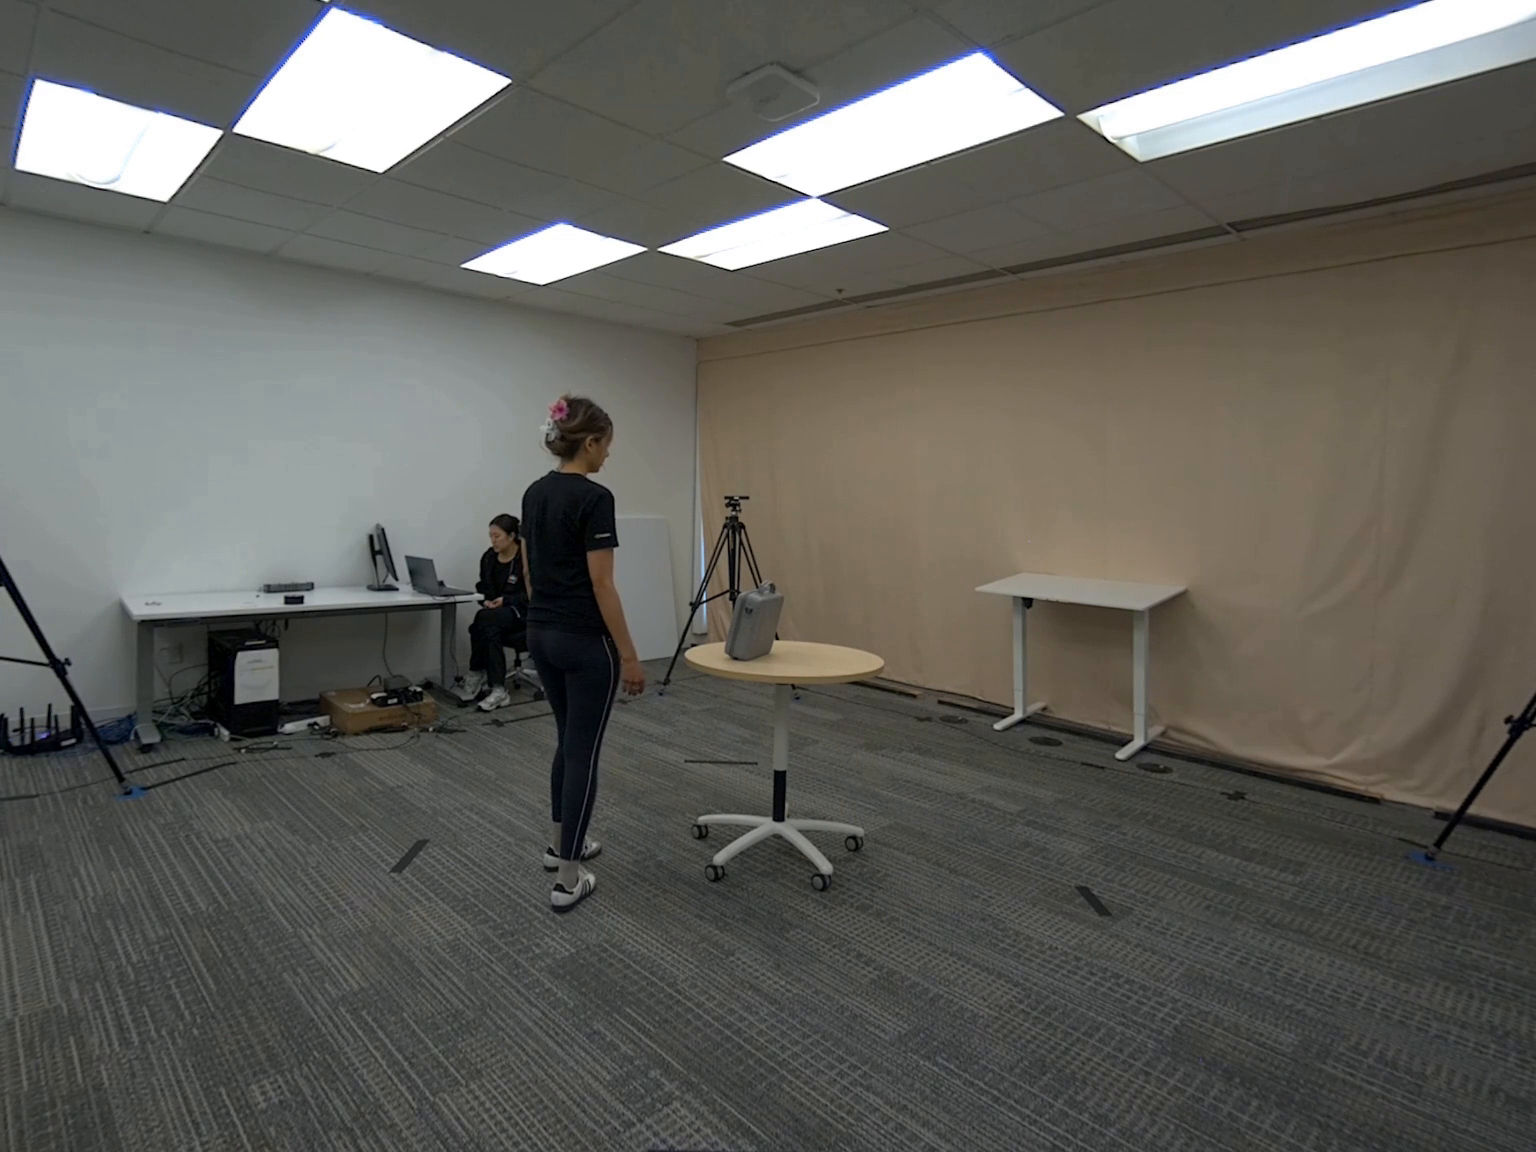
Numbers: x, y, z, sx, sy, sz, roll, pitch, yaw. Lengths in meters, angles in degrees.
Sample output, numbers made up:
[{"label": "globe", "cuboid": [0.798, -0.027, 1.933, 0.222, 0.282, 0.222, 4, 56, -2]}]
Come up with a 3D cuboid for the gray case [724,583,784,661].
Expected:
[{"label": "gray case", "cuboid": [-0.056, 0.177, 3.218, 0.106, 0.259, 0.253, 15, 10, 22]}]
